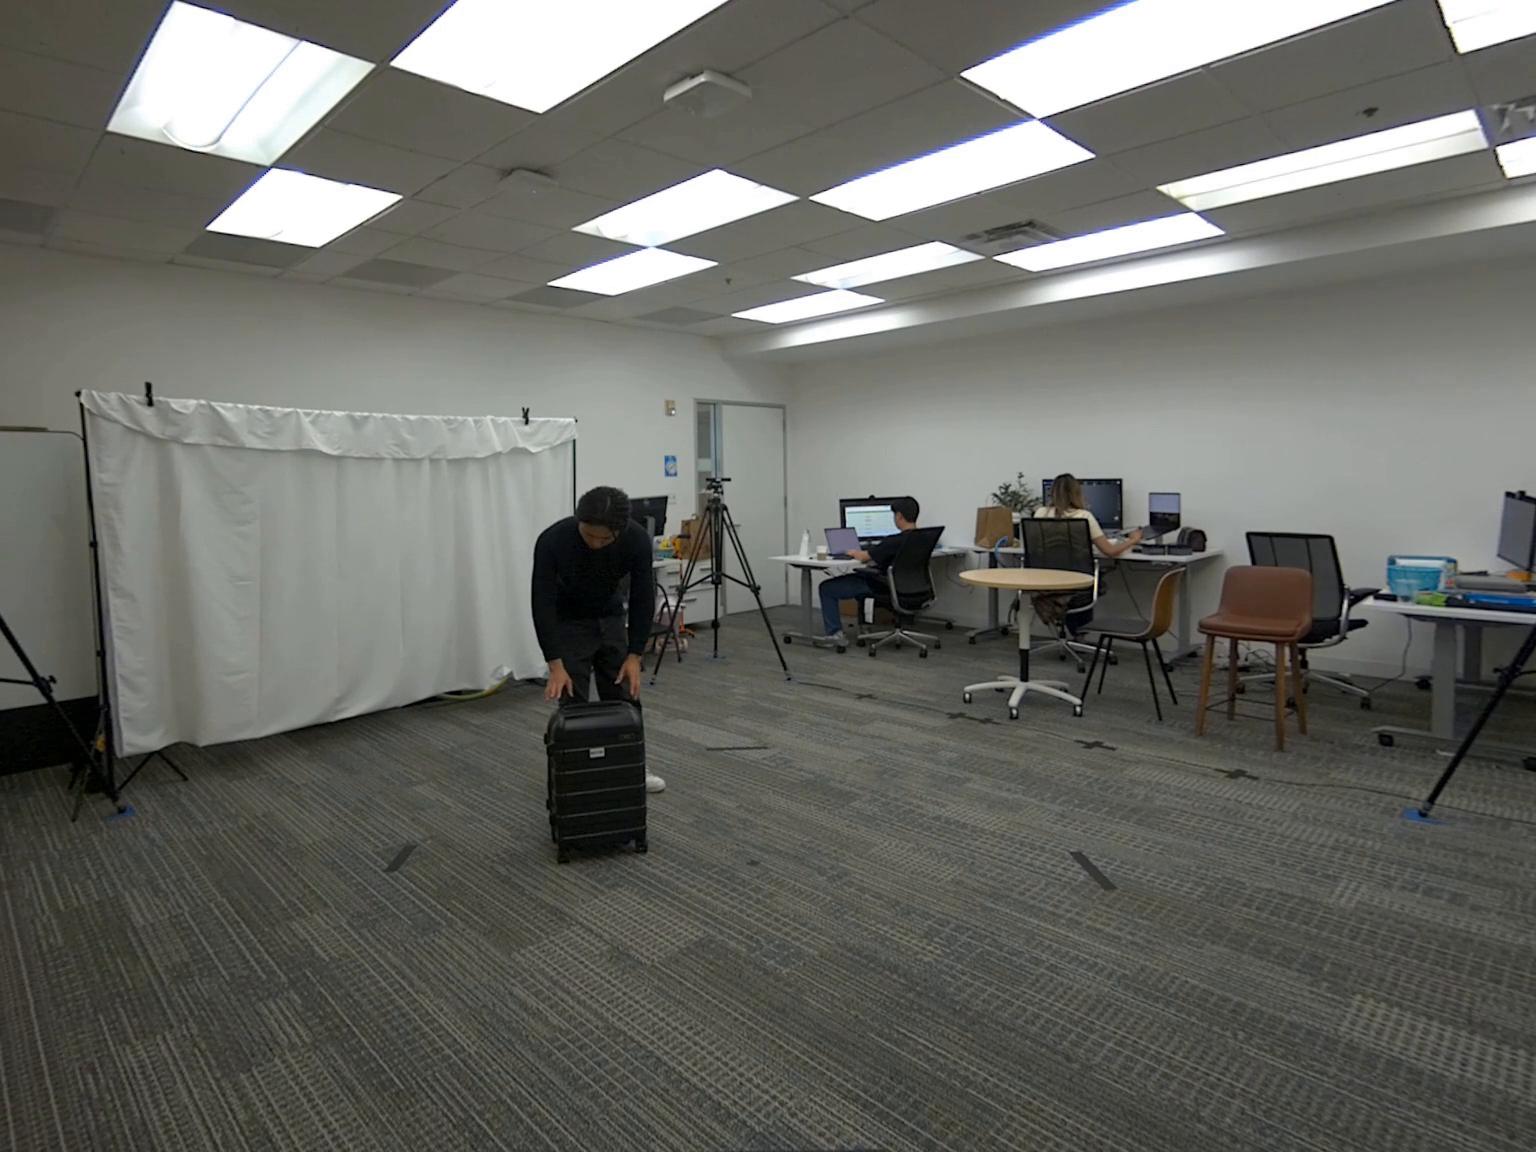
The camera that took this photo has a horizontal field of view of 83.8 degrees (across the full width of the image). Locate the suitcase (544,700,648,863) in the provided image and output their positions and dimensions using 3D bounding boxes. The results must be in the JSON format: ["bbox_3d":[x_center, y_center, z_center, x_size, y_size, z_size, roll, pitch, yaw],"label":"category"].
[{"bbox_3d":[-0.641,0.763,3.239,0.370,0.546,0.253,-2,6,-17],"label":"suitcase"}]
